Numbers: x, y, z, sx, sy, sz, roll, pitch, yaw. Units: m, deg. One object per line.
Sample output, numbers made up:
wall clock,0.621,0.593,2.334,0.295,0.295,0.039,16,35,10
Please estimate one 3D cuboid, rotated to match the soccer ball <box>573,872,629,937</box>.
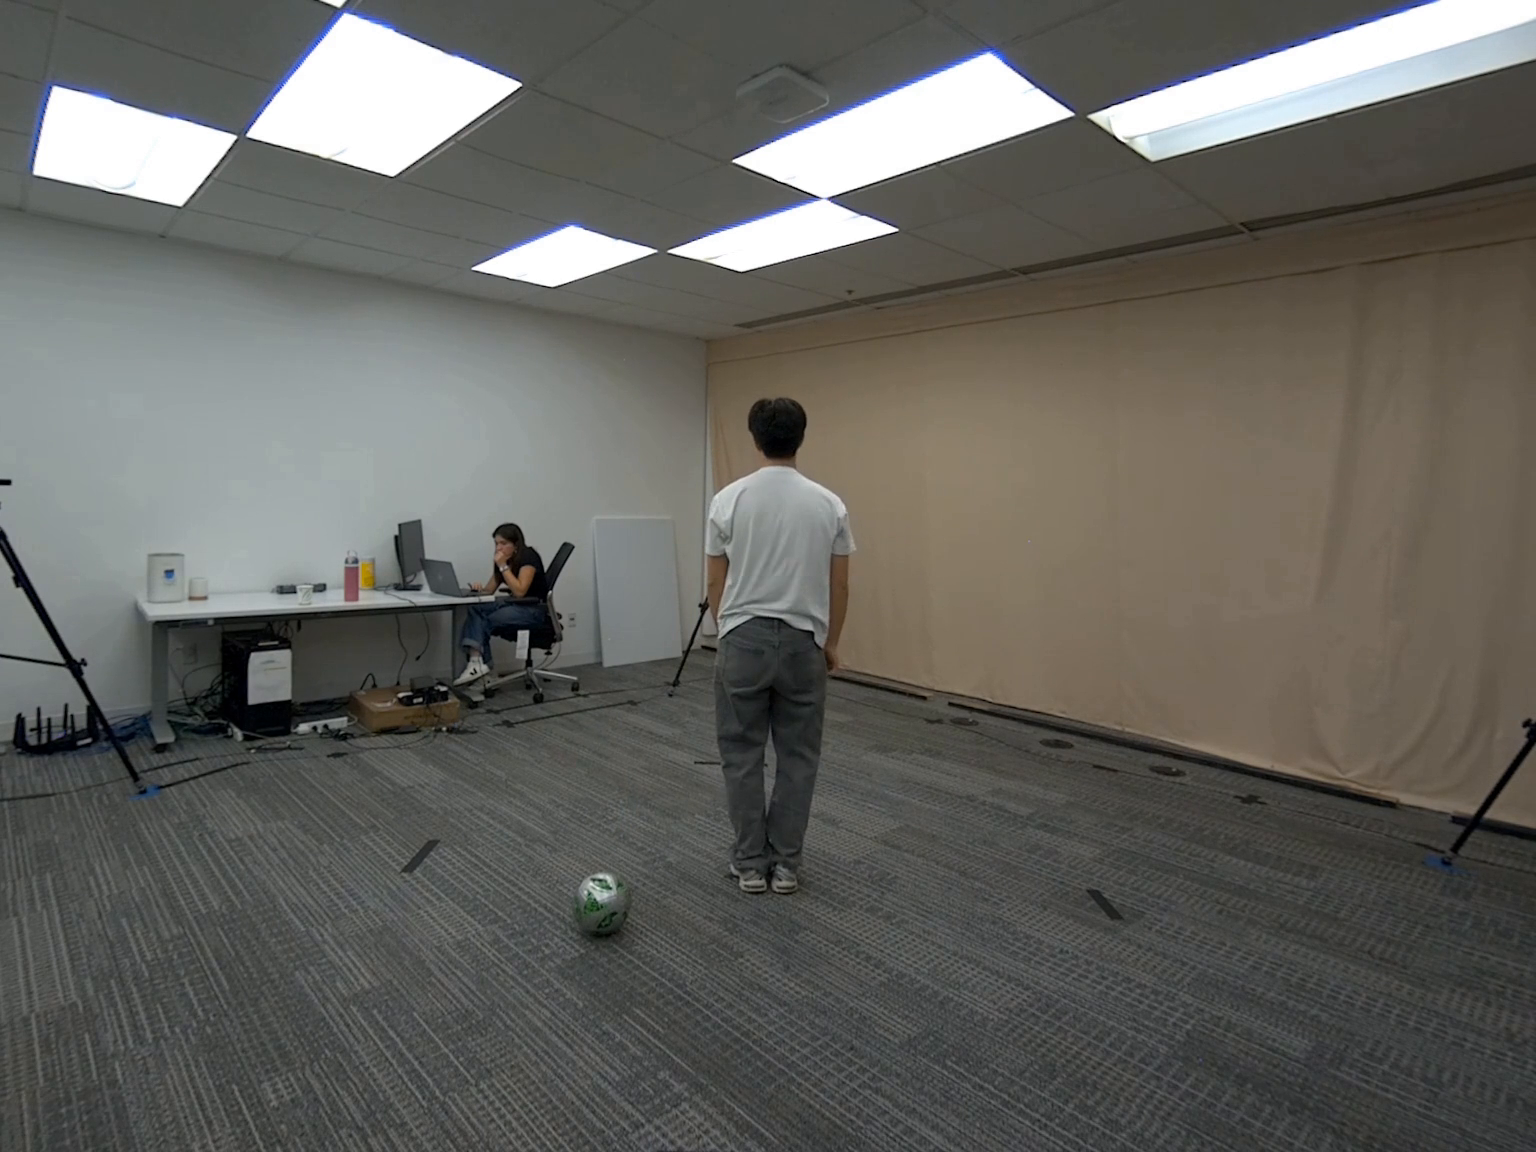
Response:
soccer ball,-0.529,1.047,2.681,0.187,0.187,0.188,1,4,-1
